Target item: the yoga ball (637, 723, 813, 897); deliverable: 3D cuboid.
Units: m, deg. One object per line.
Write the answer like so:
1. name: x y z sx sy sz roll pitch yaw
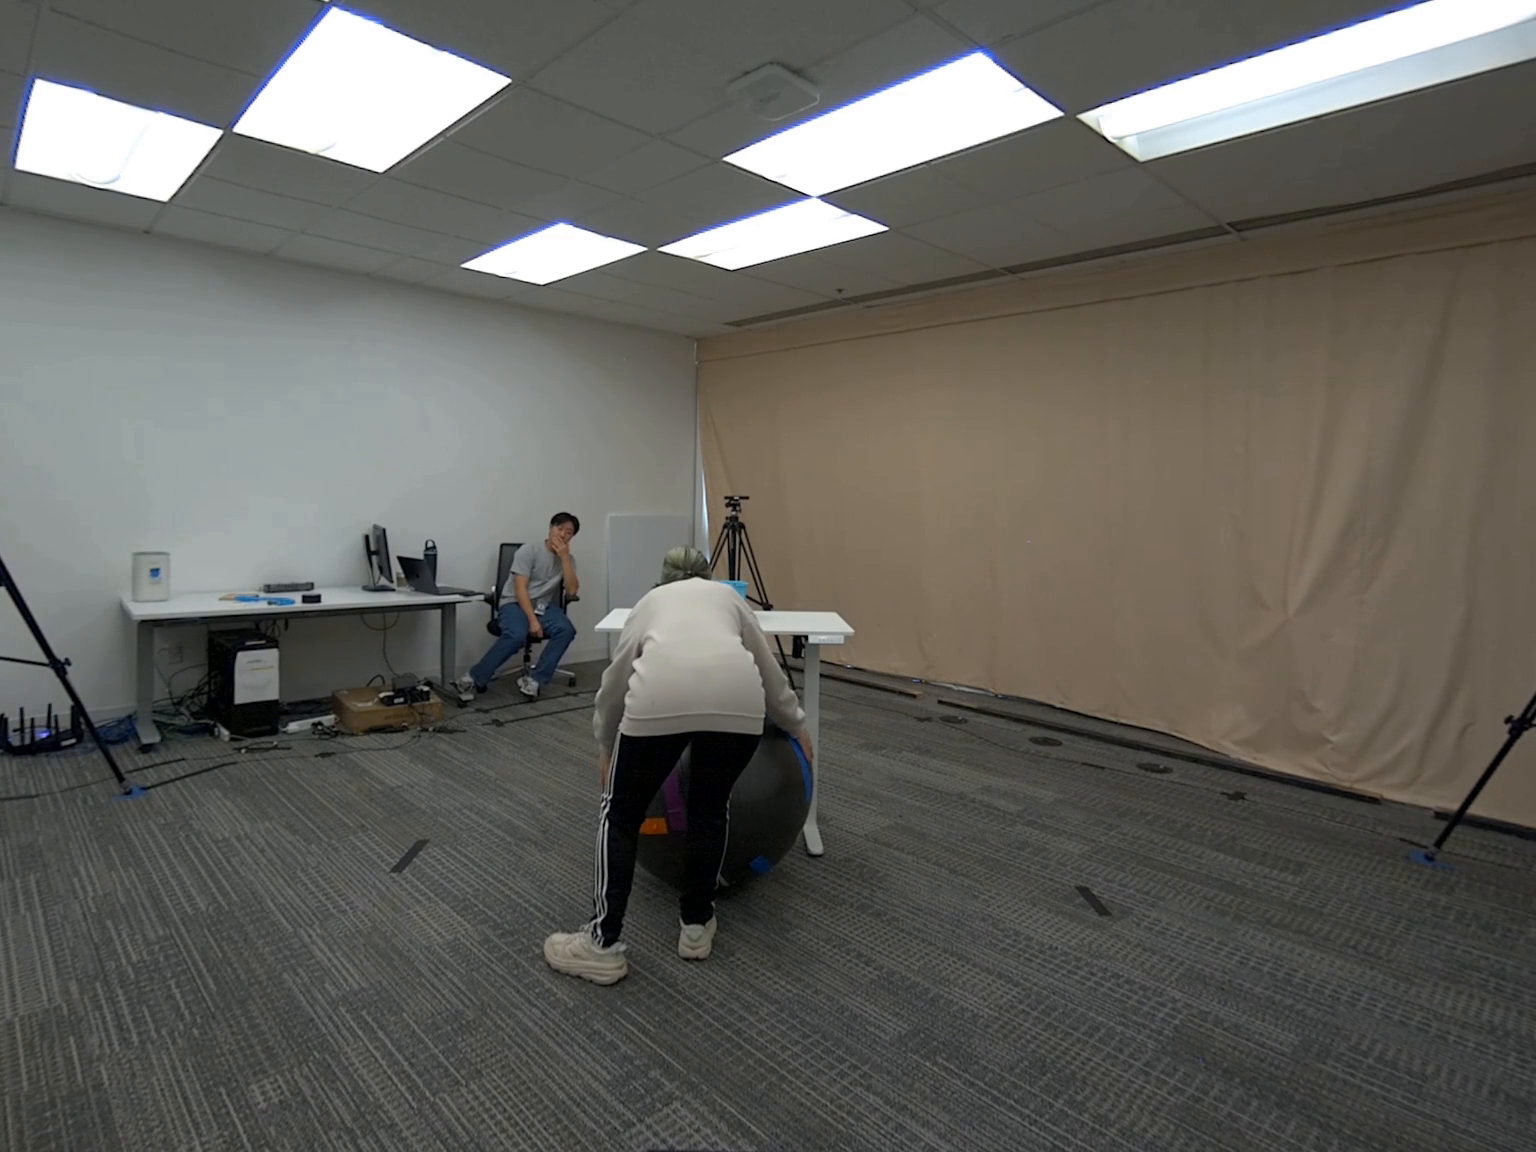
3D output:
1. yoga ball: -0.217 0.739 3.045 0.757 0.756 0.761 1 4 -1
